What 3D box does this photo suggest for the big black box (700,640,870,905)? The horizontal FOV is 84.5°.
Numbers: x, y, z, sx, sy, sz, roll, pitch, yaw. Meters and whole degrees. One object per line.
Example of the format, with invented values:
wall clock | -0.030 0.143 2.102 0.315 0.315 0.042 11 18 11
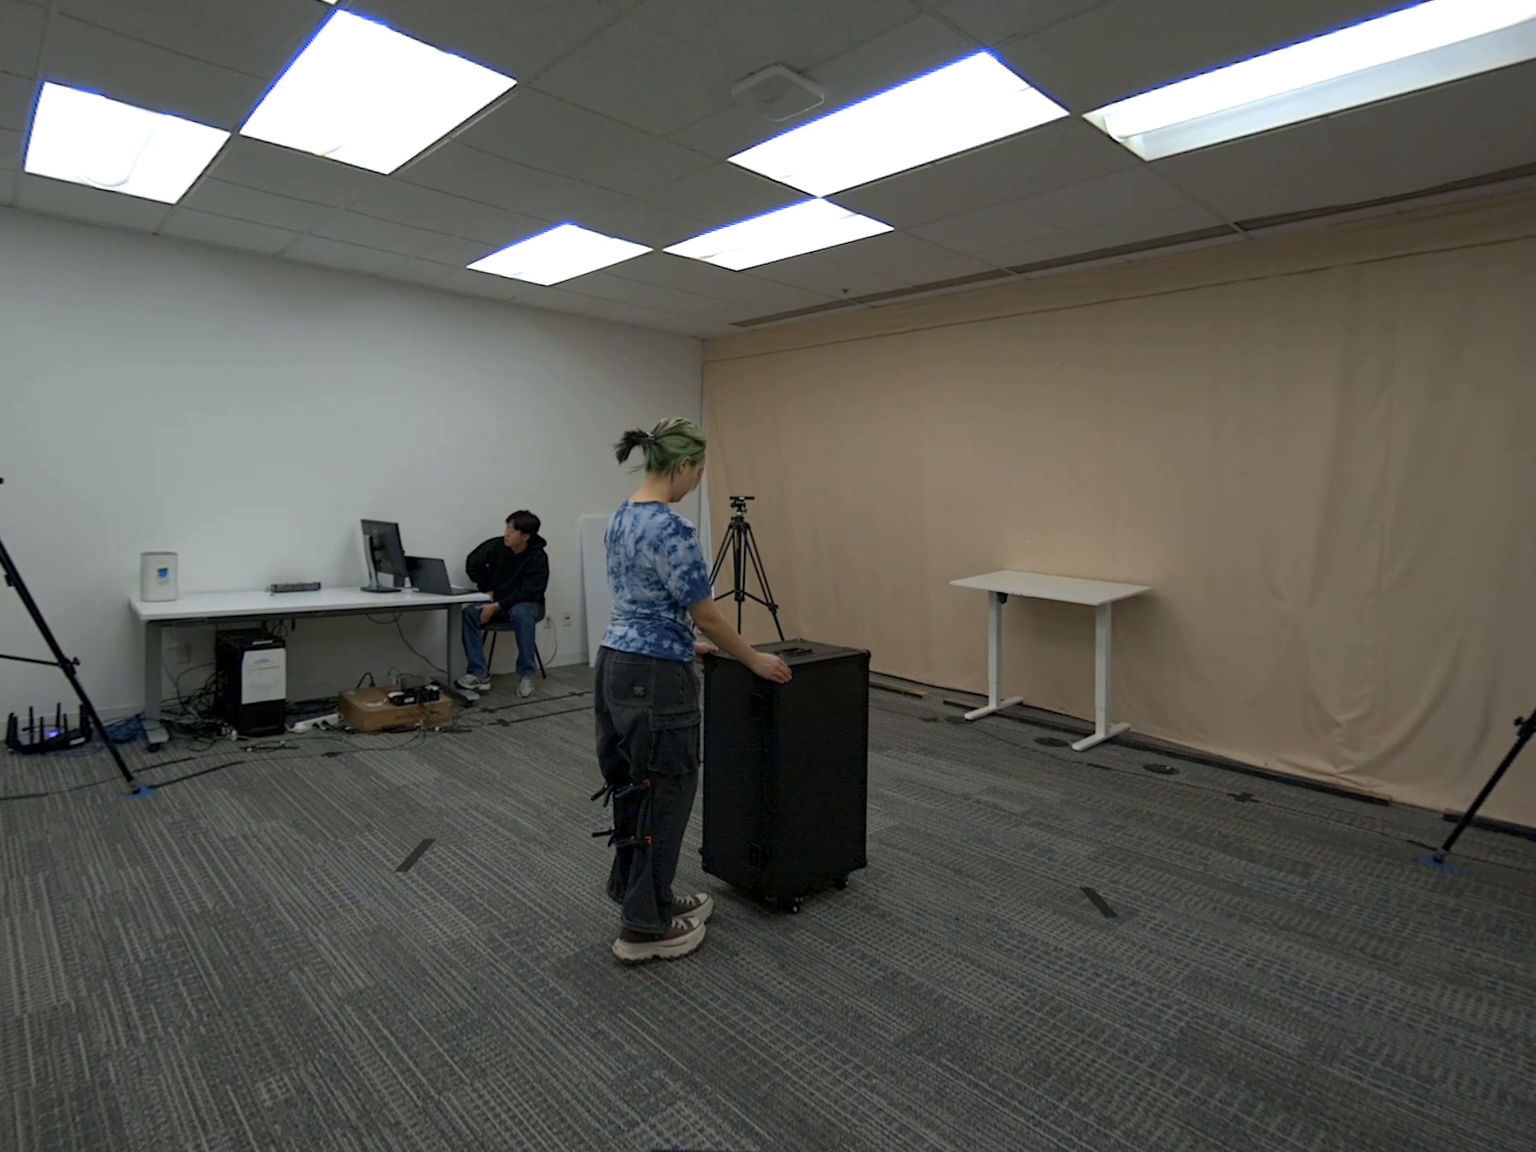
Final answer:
big black box | 0.052 0.693 2.997 0.509 0.859 0.406 -3 4 -43
